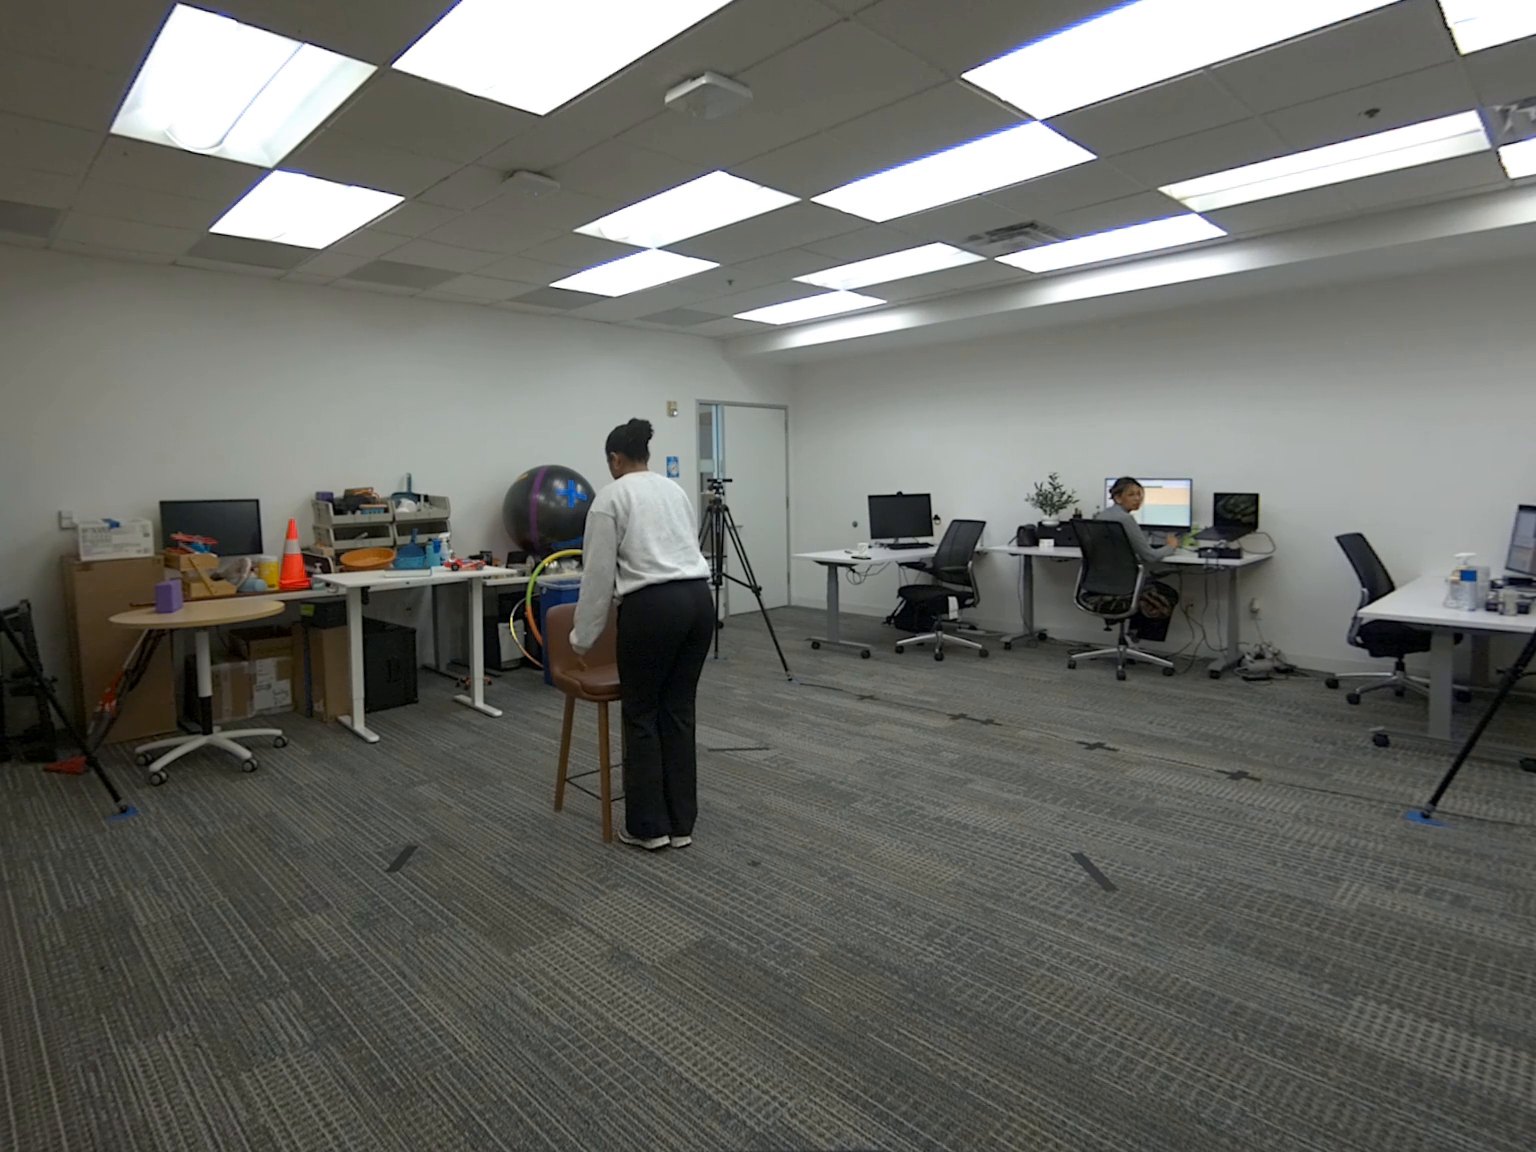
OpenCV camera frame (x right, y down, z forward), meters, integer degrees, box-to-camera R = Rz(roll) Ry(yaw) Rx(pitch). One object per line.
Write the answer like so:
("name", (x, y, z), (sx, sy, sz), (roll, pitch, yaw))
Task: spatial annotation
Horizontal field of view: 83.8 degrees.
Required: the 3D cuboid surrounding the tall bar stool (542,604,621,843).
("tall bar stool", (-0.644, 0.562, 3.587), (0.444, 0.888, 0.481), (-4, 4, -42))
